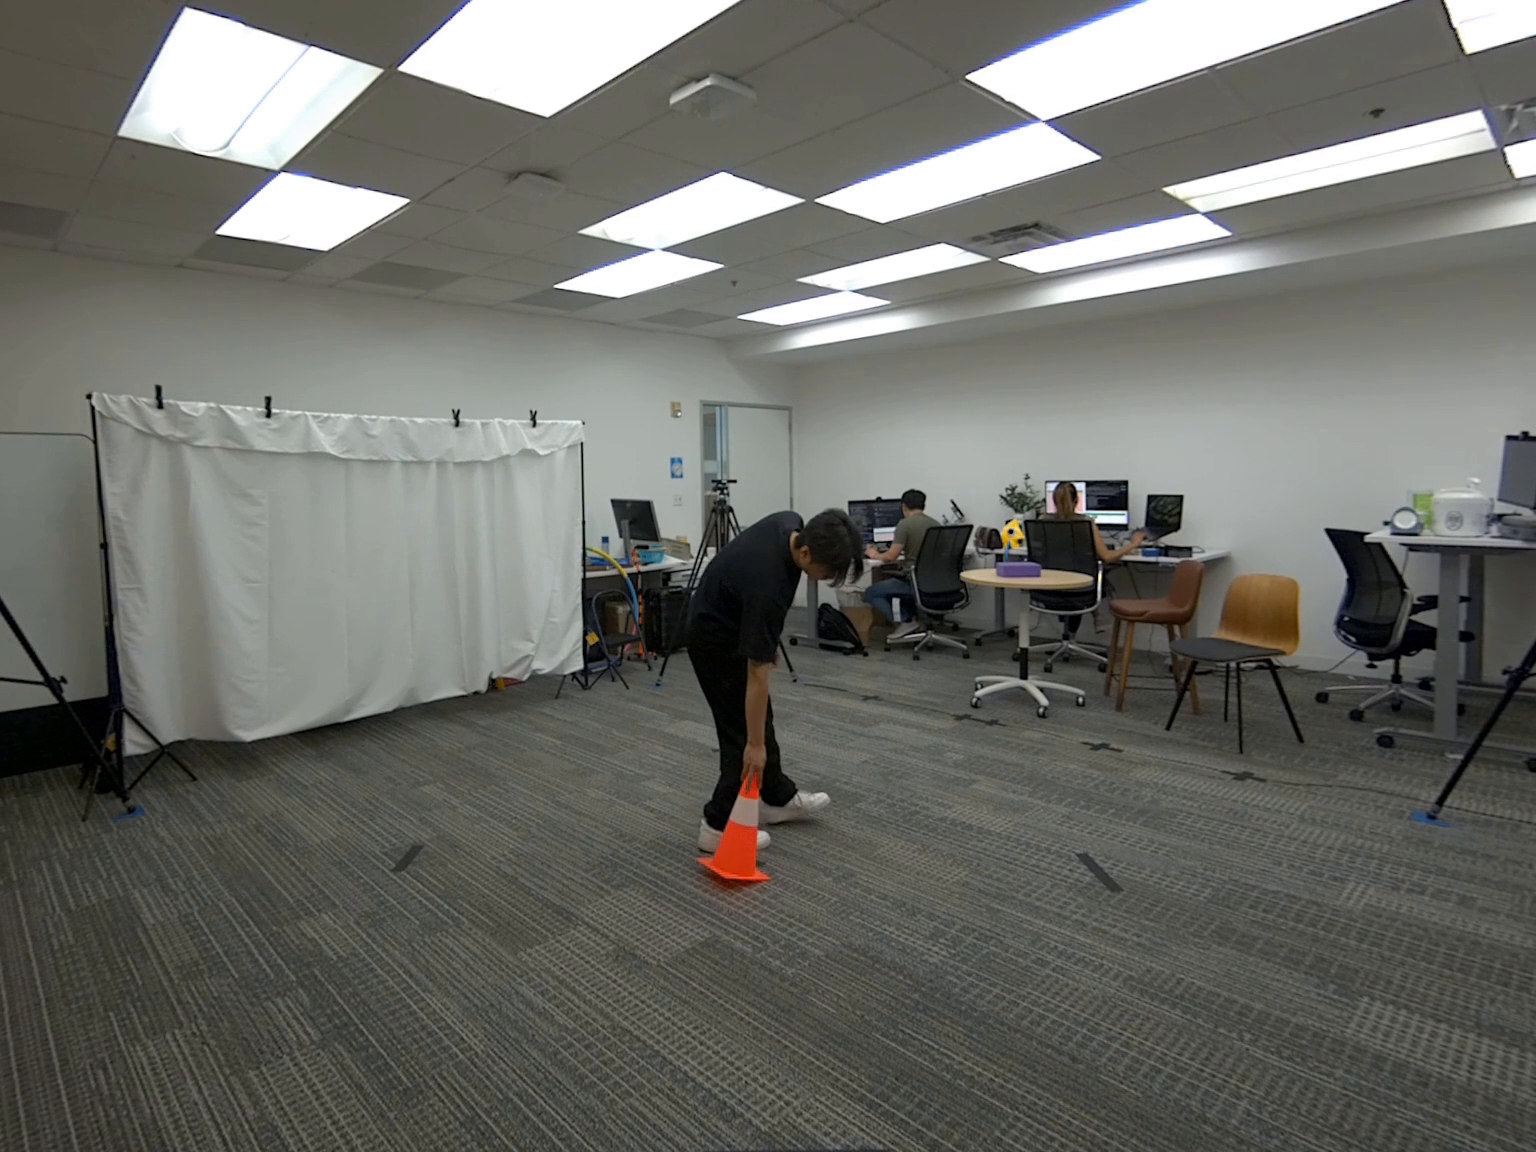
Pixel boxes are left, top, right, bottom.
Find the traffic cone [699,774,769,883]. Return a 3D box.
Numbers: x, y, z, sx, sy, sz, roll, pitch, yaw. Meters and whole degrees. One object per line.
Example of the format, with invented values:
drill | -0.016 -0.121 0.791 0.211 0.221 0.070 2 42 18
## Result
traffic cone | -0.088 0.857 3.038 0.201 0.384 0.207 9 -3 -21
